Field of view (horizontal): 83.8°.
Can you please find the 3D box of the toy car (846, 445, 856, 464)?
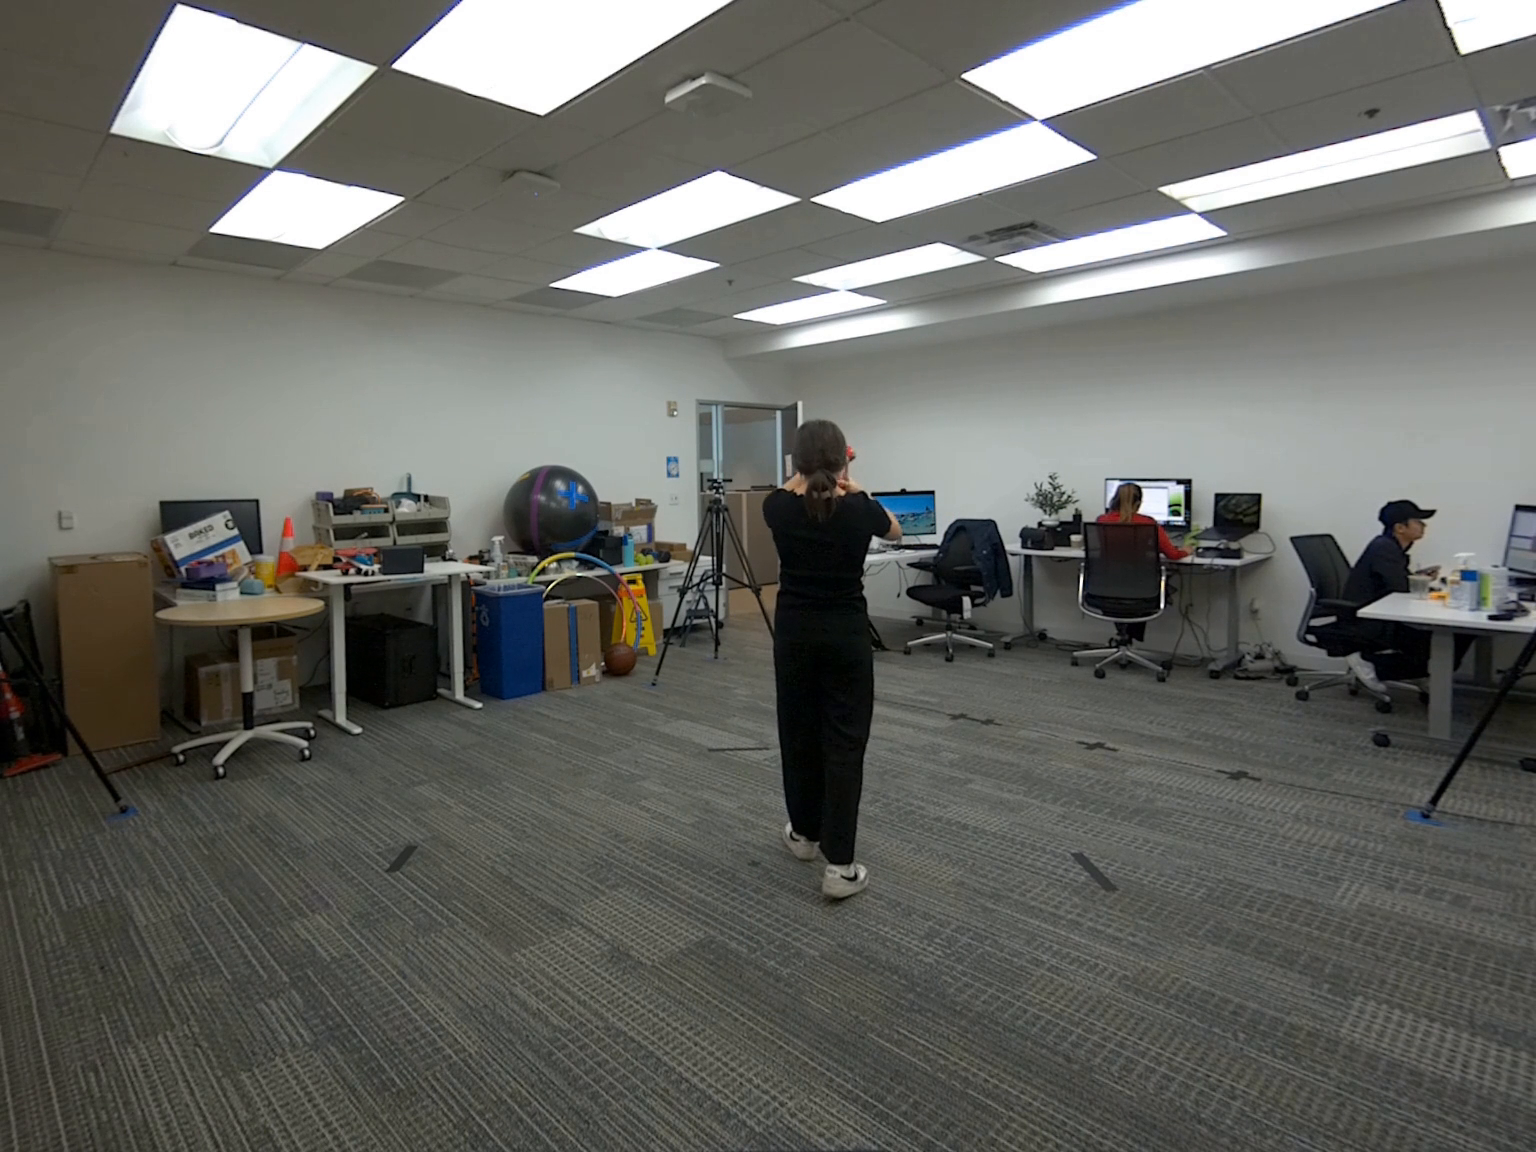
[{"bbox_3d":[0.256,-0.397,3.354,0.133,0.258,0.080,7,-23,18],"label":"toy car"}]
